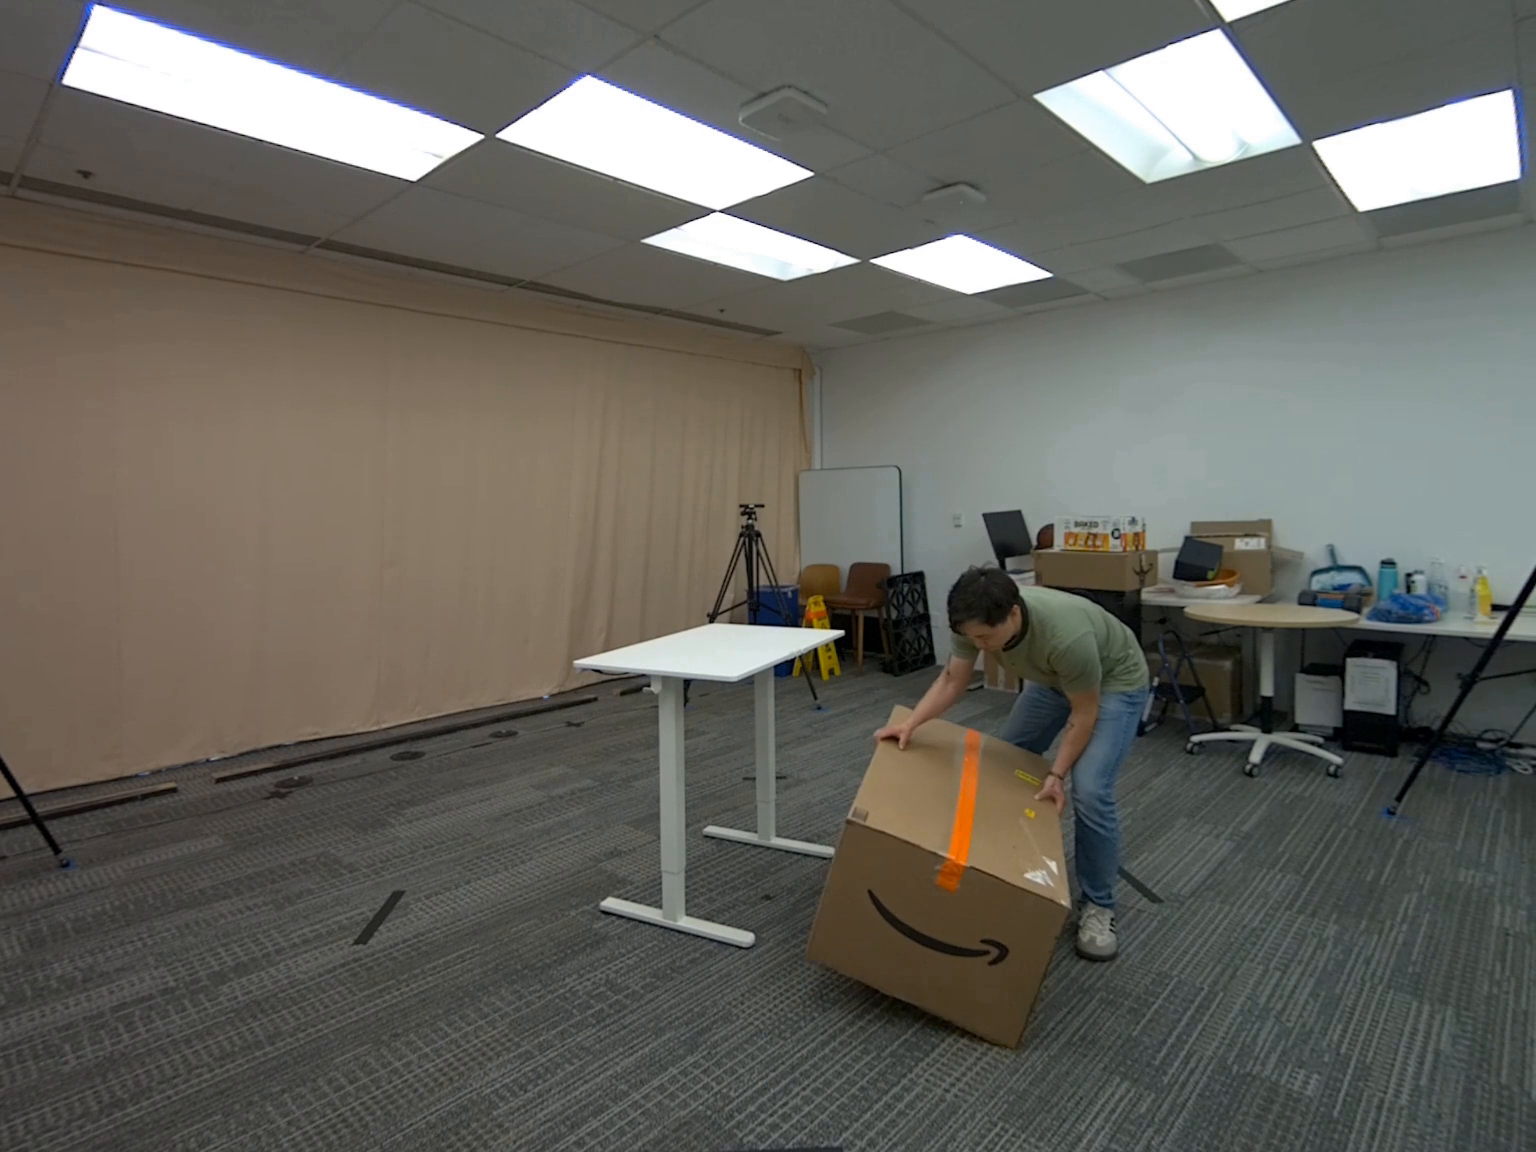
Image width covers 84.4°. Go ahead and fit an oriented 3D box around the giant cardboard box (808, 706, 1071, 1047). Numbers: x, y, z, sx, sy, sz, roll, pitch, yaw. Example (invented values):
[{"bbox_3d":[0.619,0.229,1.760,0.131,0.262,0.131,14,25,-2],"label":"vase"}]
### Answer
[{"bbox_3d":[0.556,0.838,2.640,0.588,0.424,1.011,17,12,14],"label":"giant cardboard box"}]
